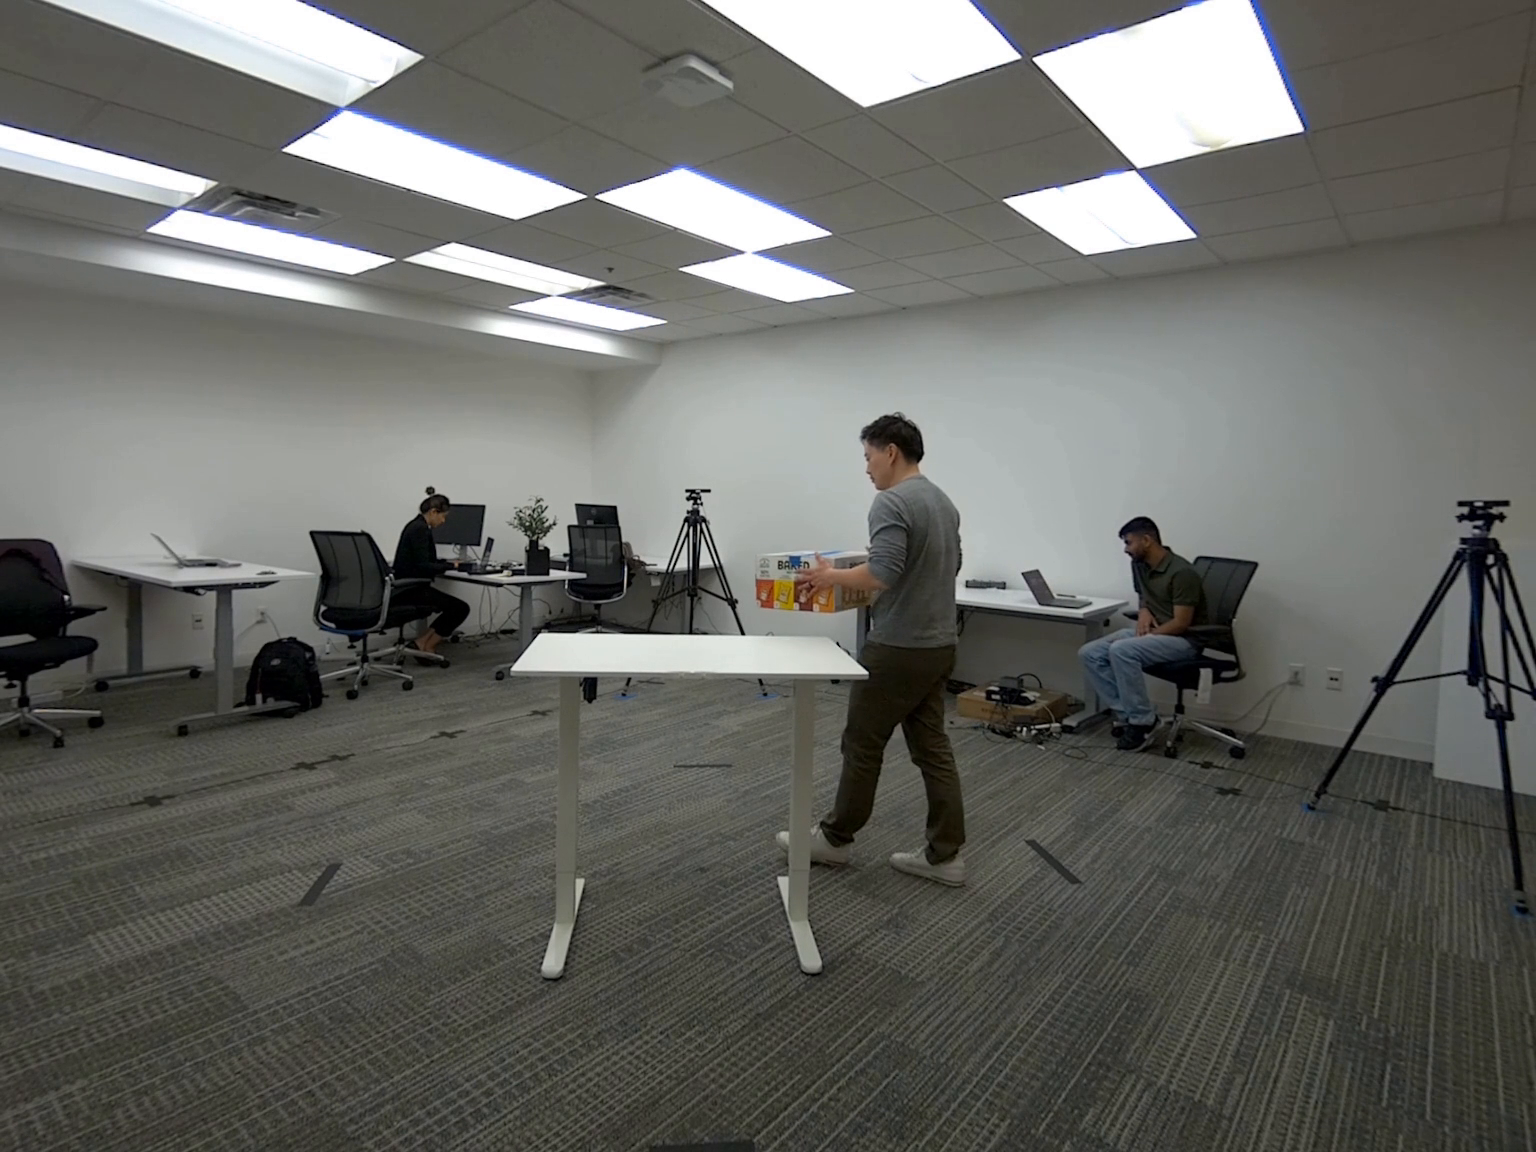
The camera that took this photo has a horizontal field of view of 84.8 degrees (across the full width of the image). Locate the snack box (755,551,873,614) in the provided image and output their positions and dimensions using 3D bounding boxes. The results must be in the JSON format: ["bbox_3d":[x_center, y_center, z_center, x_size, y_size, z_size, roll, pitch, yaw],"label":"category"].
[{"bbox_3d":[0.186,0.007,3.328,0.351,0.205,0.394,3,5,33],"label":"snack box"}]
